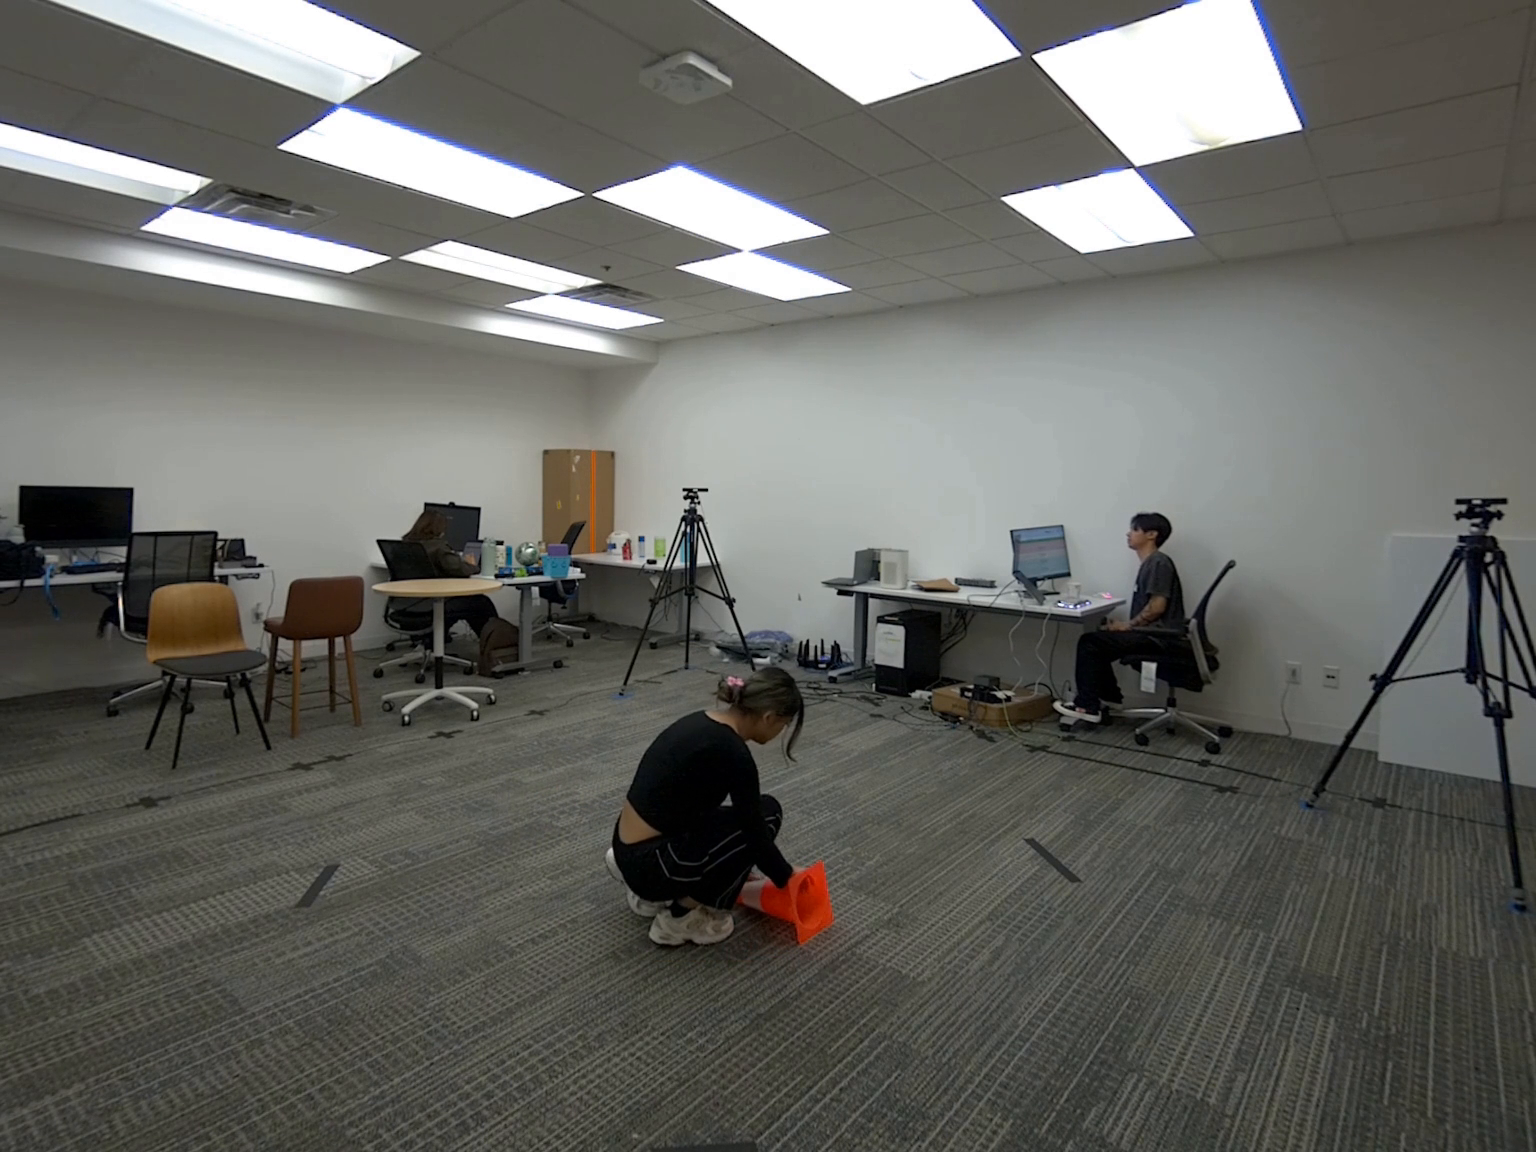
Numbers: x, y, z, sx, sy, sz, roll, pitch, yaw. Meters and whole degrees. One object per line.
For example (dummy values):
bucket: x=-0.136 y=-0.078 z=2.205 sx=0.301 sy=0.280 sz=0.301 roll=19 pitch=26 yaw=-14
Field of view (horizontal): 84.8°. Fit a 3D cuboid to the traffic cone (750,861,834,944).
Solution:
traffic cone: x=-0.024 y=1.057 z=2.793 sx=0.393 sy=0.203 sz=0.200 roll=-12 pitch=1 yaw=37
